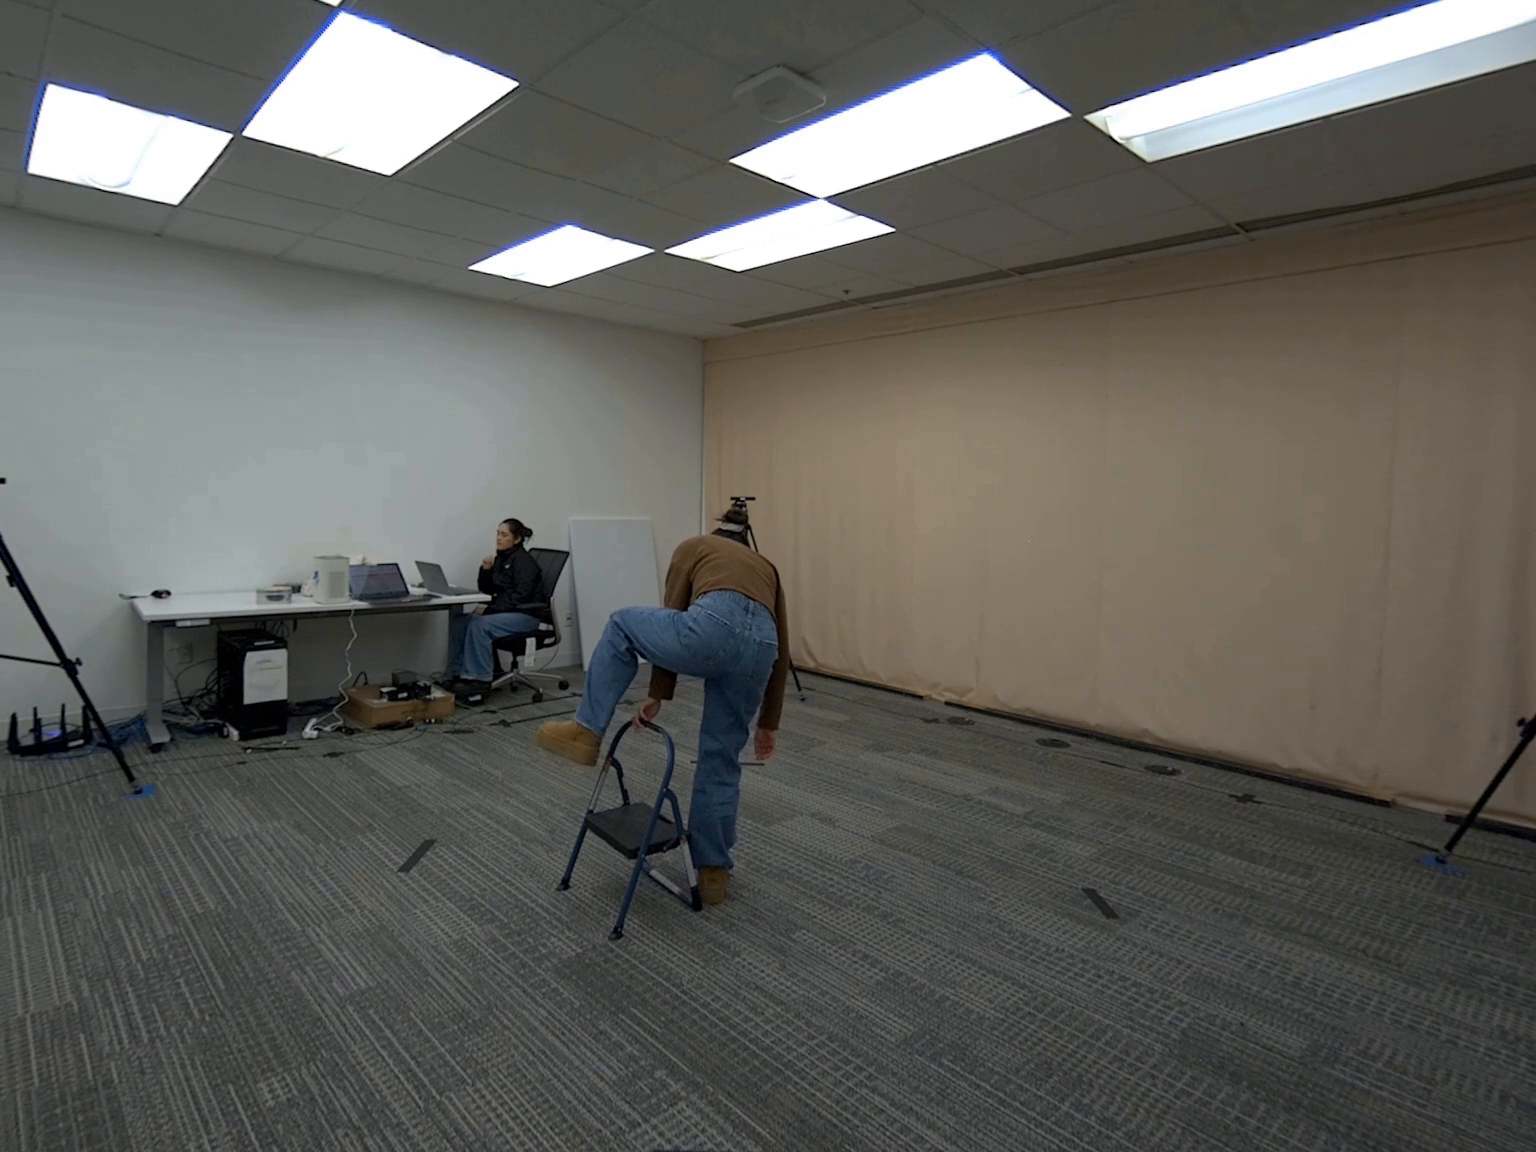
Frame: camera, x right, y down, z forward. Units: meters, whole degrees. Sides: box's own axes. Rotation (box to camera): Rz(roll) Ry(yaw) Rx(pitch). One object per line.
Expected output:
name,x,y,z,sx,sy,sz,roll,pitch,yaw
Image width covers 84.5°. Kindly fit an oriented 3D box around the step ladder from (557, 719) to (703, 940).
step ladder,-0.475,0.816,2.886,0.341,0.605,0.441,0,4,-37
